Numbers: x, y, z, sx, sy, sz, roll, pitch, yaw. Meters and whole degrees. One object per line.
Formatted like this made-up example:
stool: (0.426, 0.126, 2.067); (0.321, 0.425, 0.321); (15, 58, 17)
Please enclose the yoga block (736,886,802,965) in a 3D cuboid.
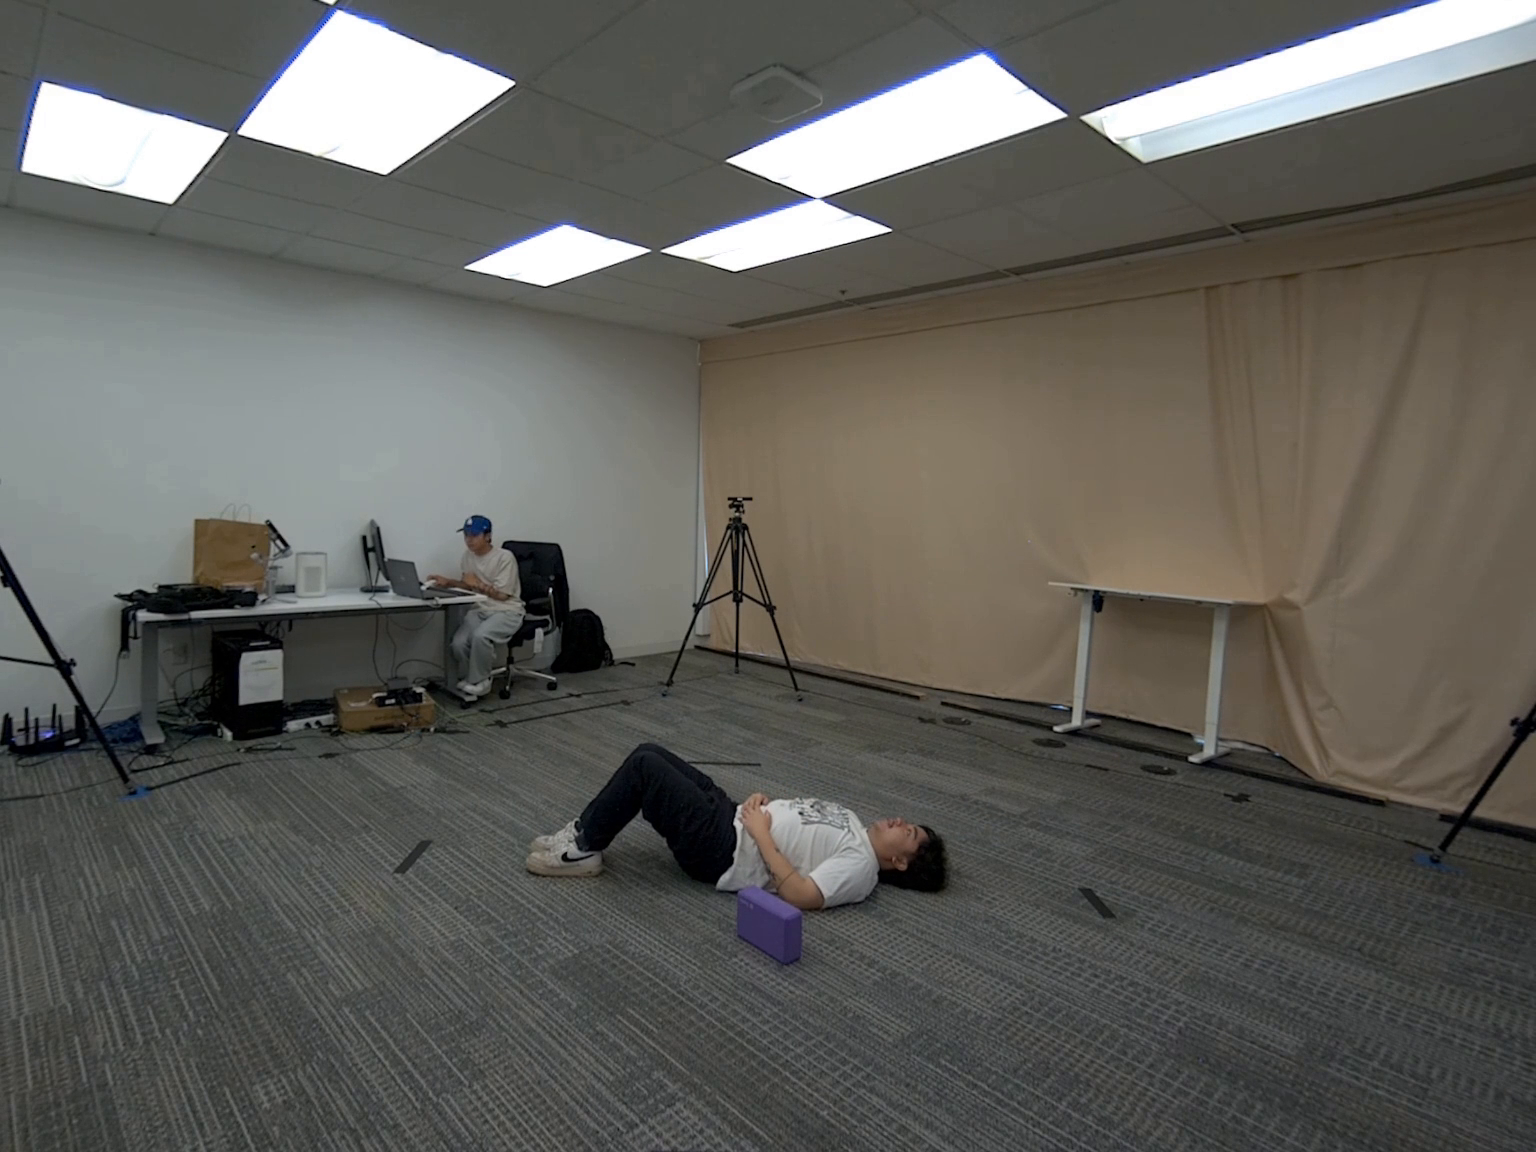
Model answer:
yoga block: (-0.005, 1.082, 2.611); (0.075, 0.148, 0.235); (-3, 7, -43)
